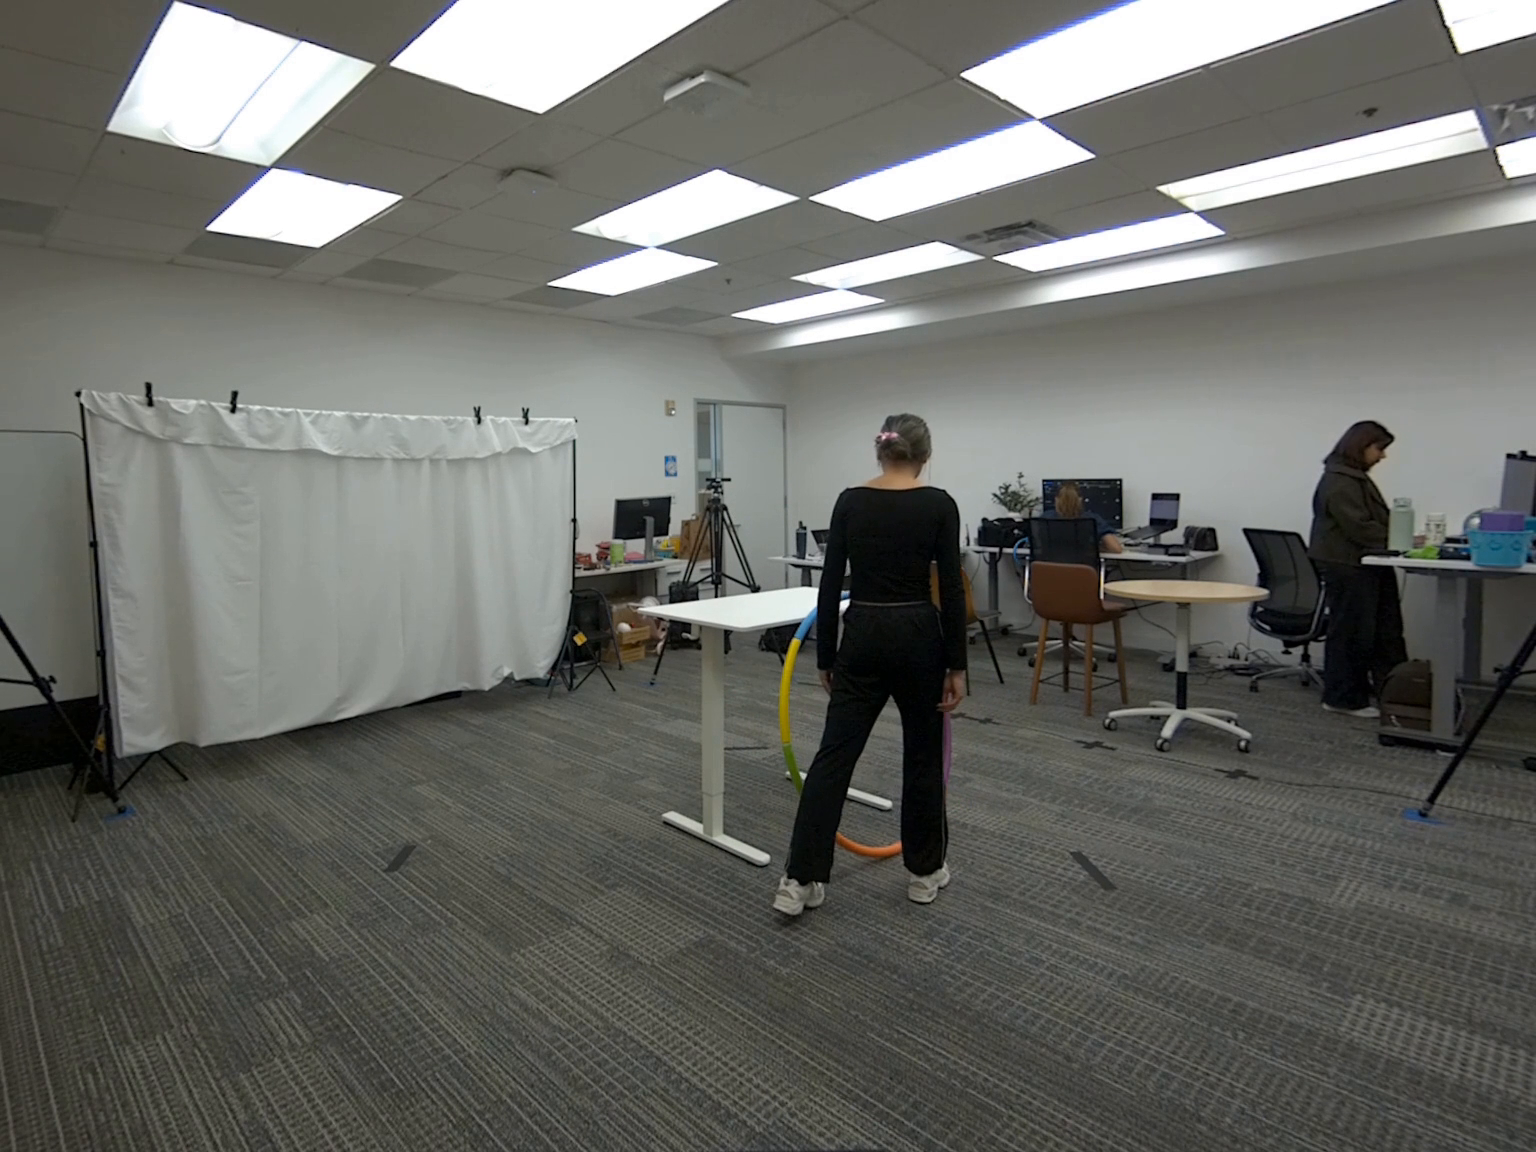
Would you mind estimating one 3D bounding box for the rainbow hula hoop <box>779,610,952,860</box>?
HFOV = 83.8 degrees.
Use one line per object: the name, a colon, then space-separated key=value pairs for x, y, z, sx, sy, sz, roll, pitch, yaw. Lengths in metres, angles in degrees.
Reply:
rainbow hula hoop: x=0.397 y=0.544 z=3.244 sx=0.953 sy=0.986 sz=0.036 roll=-6 pitch=-9 yaw=-45
